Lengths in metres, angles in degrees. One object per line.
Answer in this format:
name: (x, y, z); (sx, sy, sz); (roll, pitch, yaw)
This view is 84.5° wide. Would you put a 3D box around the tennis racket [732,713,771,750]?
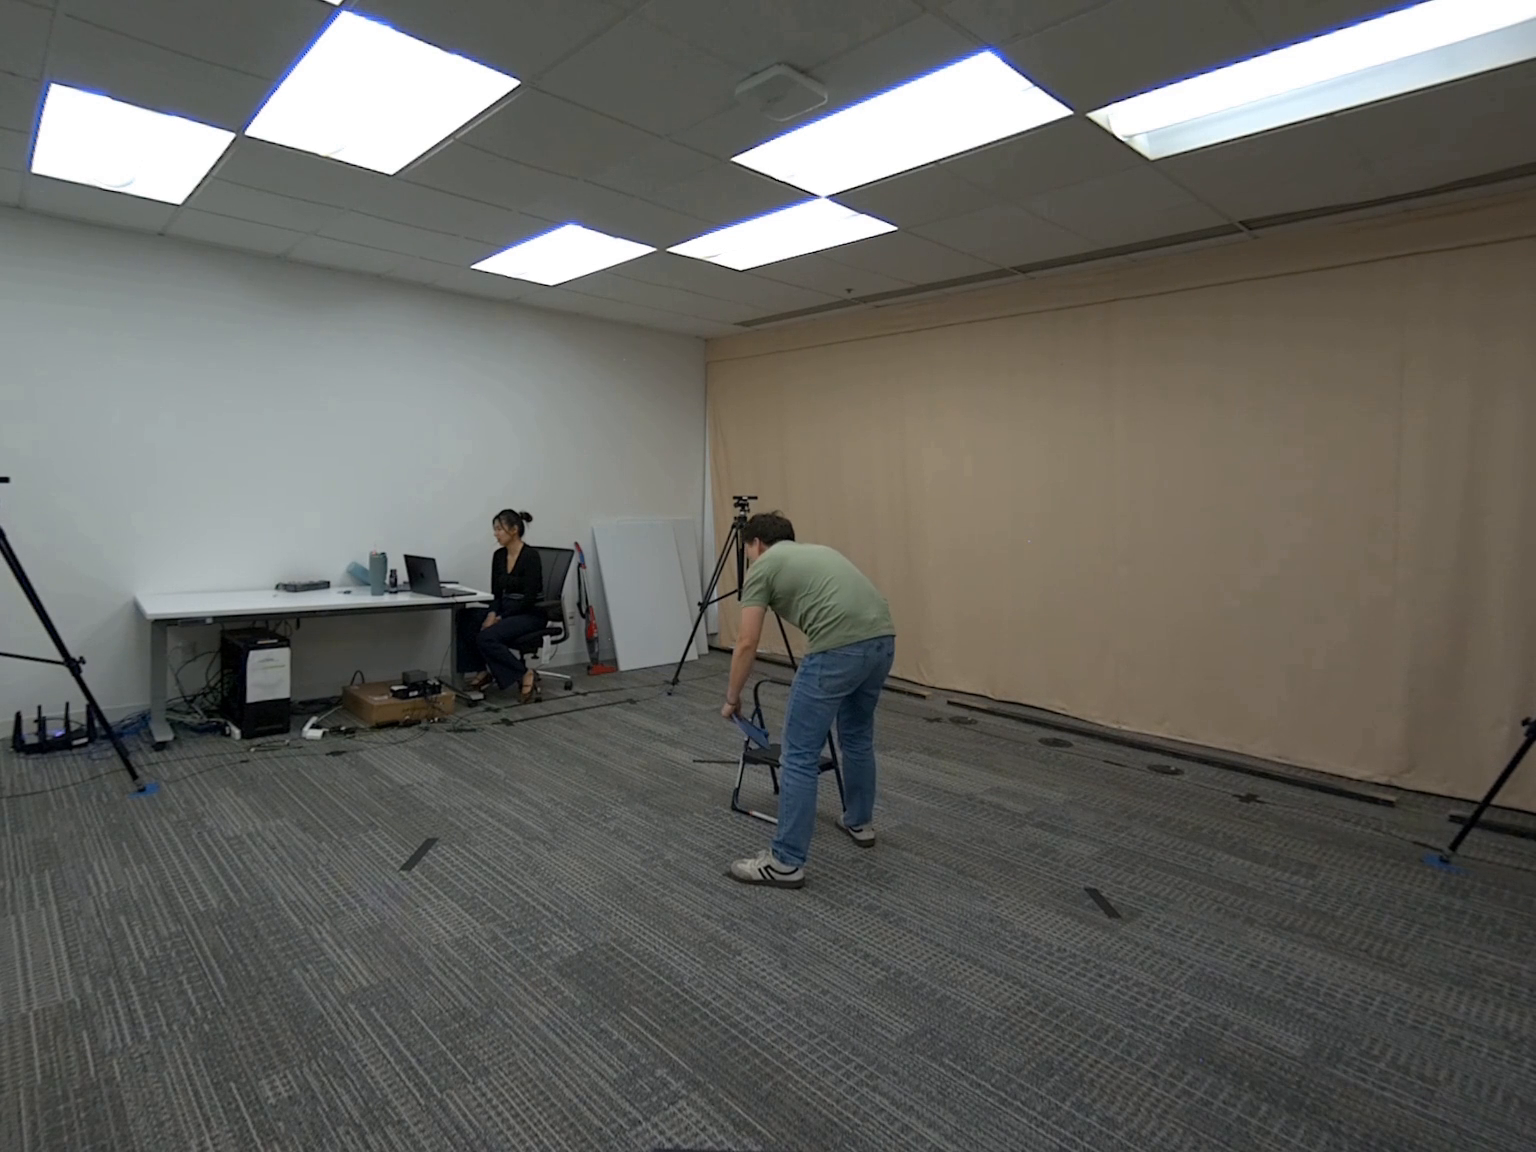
tennis racket: (-0.040, 0.632, 3.410); (0.218, 0.032, 0.424); (45, 0, 19)
